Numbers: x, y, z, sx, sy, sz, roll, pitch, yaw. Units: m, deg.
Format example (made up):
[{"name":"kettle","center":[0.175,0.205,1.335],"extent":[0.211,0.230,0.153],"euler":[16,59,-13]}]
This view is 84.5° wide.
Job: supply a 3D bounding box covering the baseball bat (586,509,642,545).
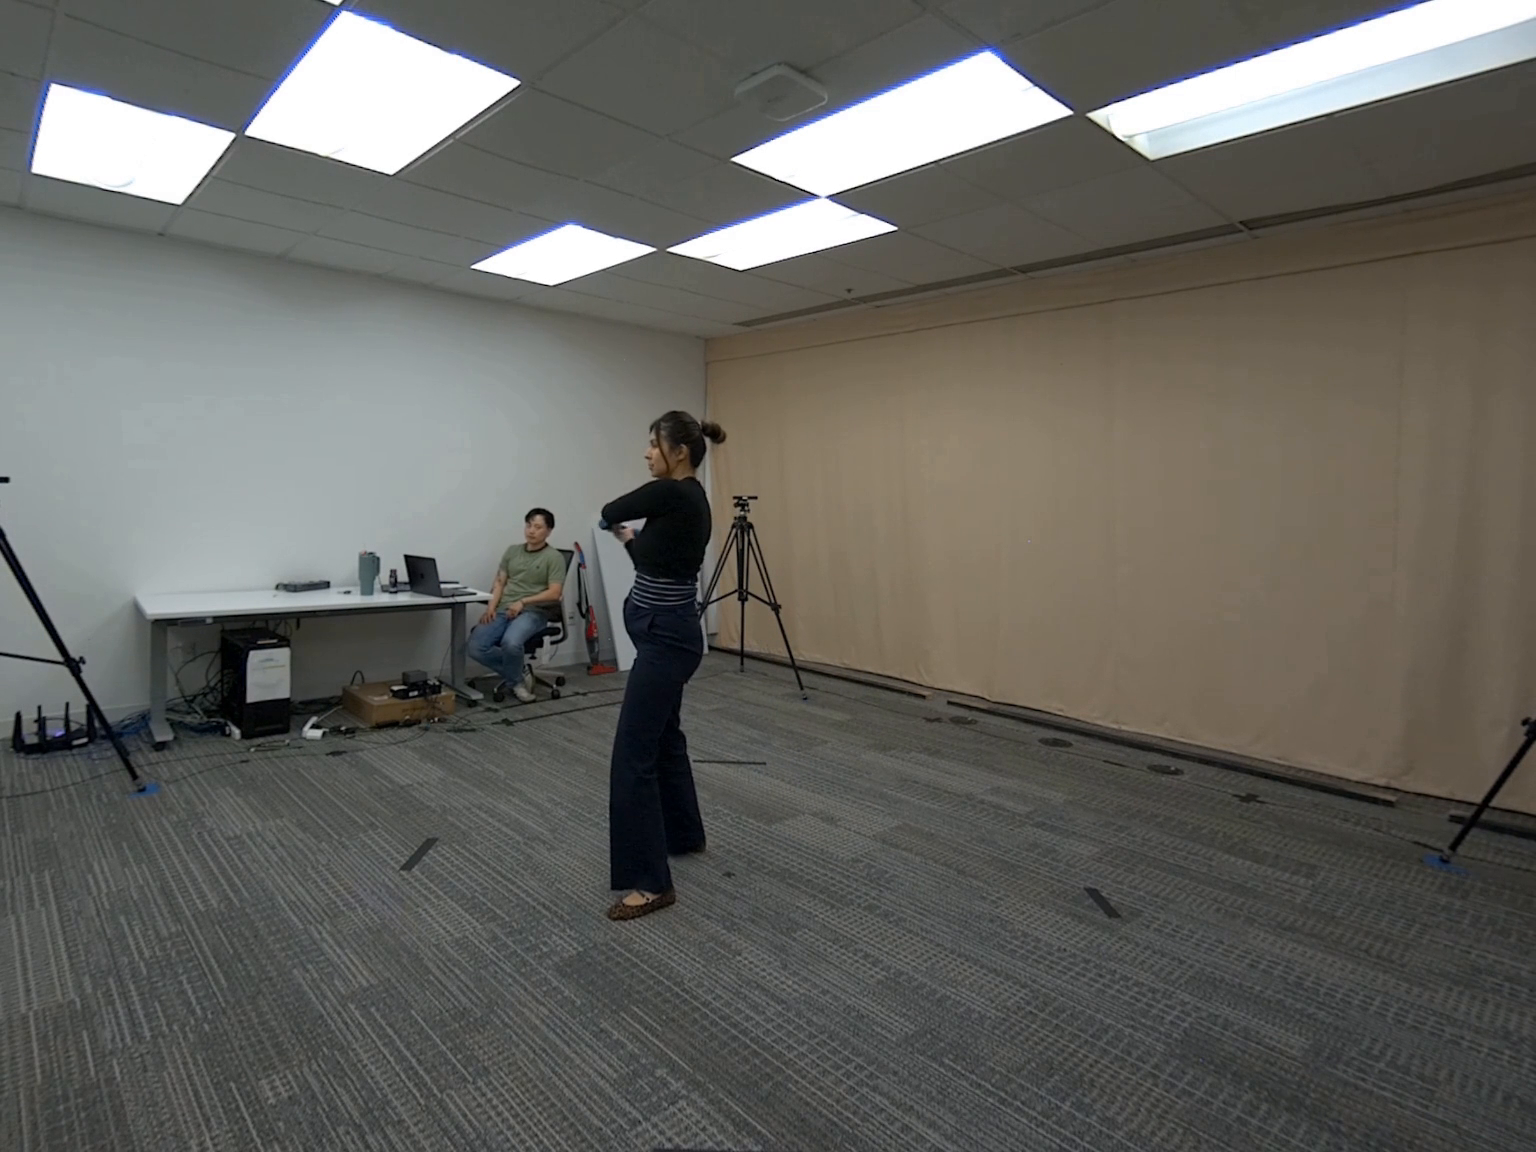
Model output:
[{"name":"baseball bat","center":[-0.549,-0.171,3.462],"extent":[0.091,0.089,0.530],"euler":[3,-7,23]}]
